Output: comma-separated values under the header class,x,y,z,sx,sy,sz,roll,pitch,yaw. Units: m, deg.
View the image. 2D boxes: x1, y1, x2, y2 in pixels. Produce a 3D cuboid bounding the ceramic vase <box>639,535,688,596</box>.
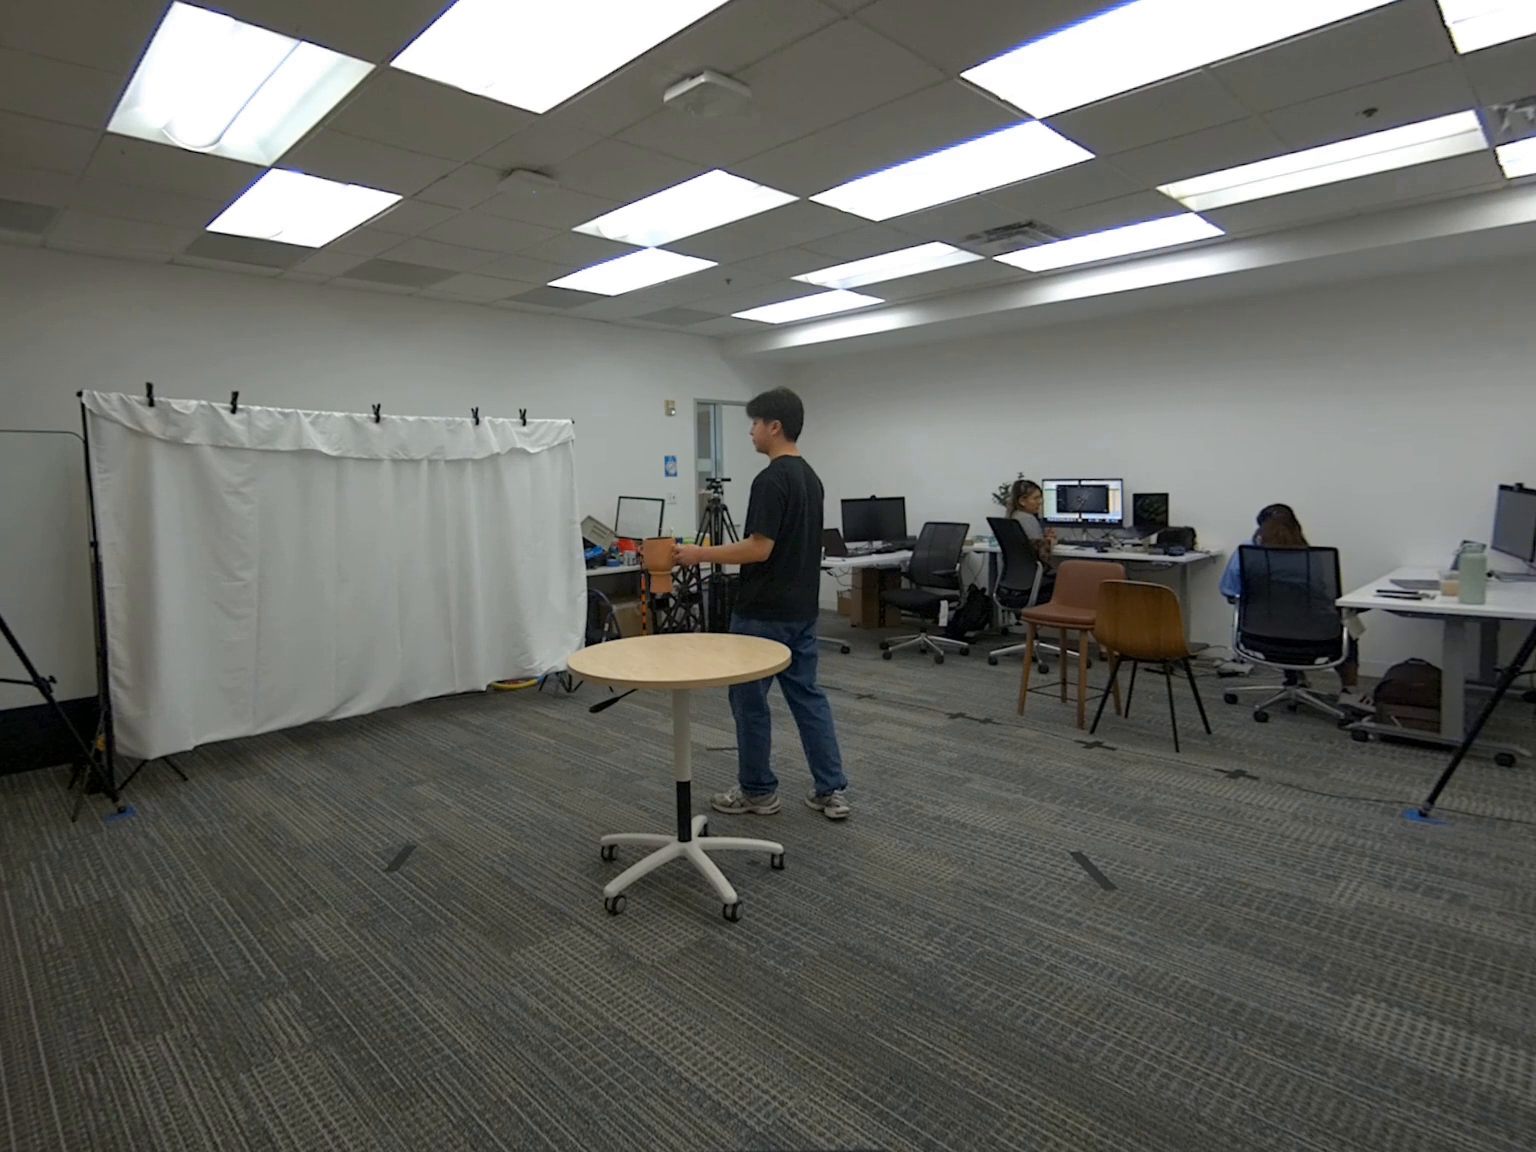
class,x,y,z,sx,sy,sz,roll,pitch,yaw
ceramic vase,-0.432,-0.049,3.514,0.132,0.219,0.163,-6,6,-25
